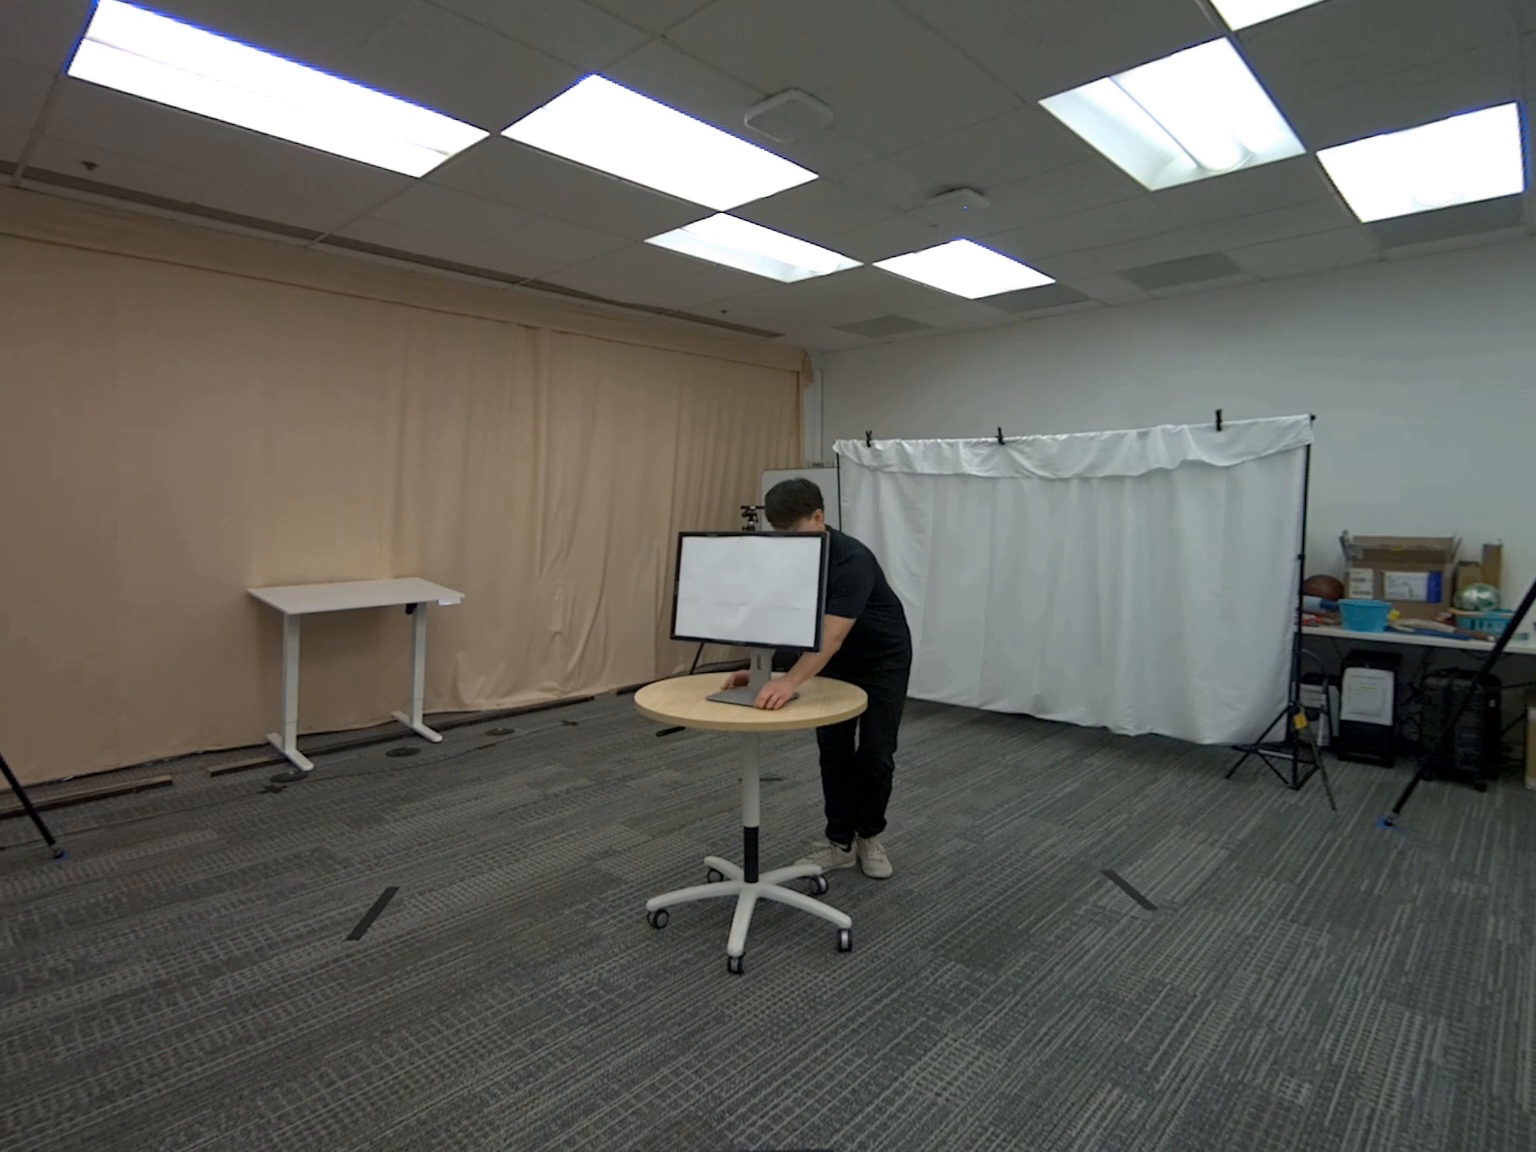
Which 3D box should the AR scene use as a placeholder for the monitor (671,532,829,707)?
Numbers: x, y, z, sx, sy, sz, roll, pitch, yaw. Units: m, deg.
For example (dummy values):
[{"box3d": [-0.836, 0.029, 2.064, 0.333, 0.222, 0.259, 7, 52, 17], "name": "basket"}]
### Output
[{"box3d": [-0.046, 0.129, 2.697, 0.555, 0.521, 0.182, 1, 4, 32], "name": "monitor"}]
